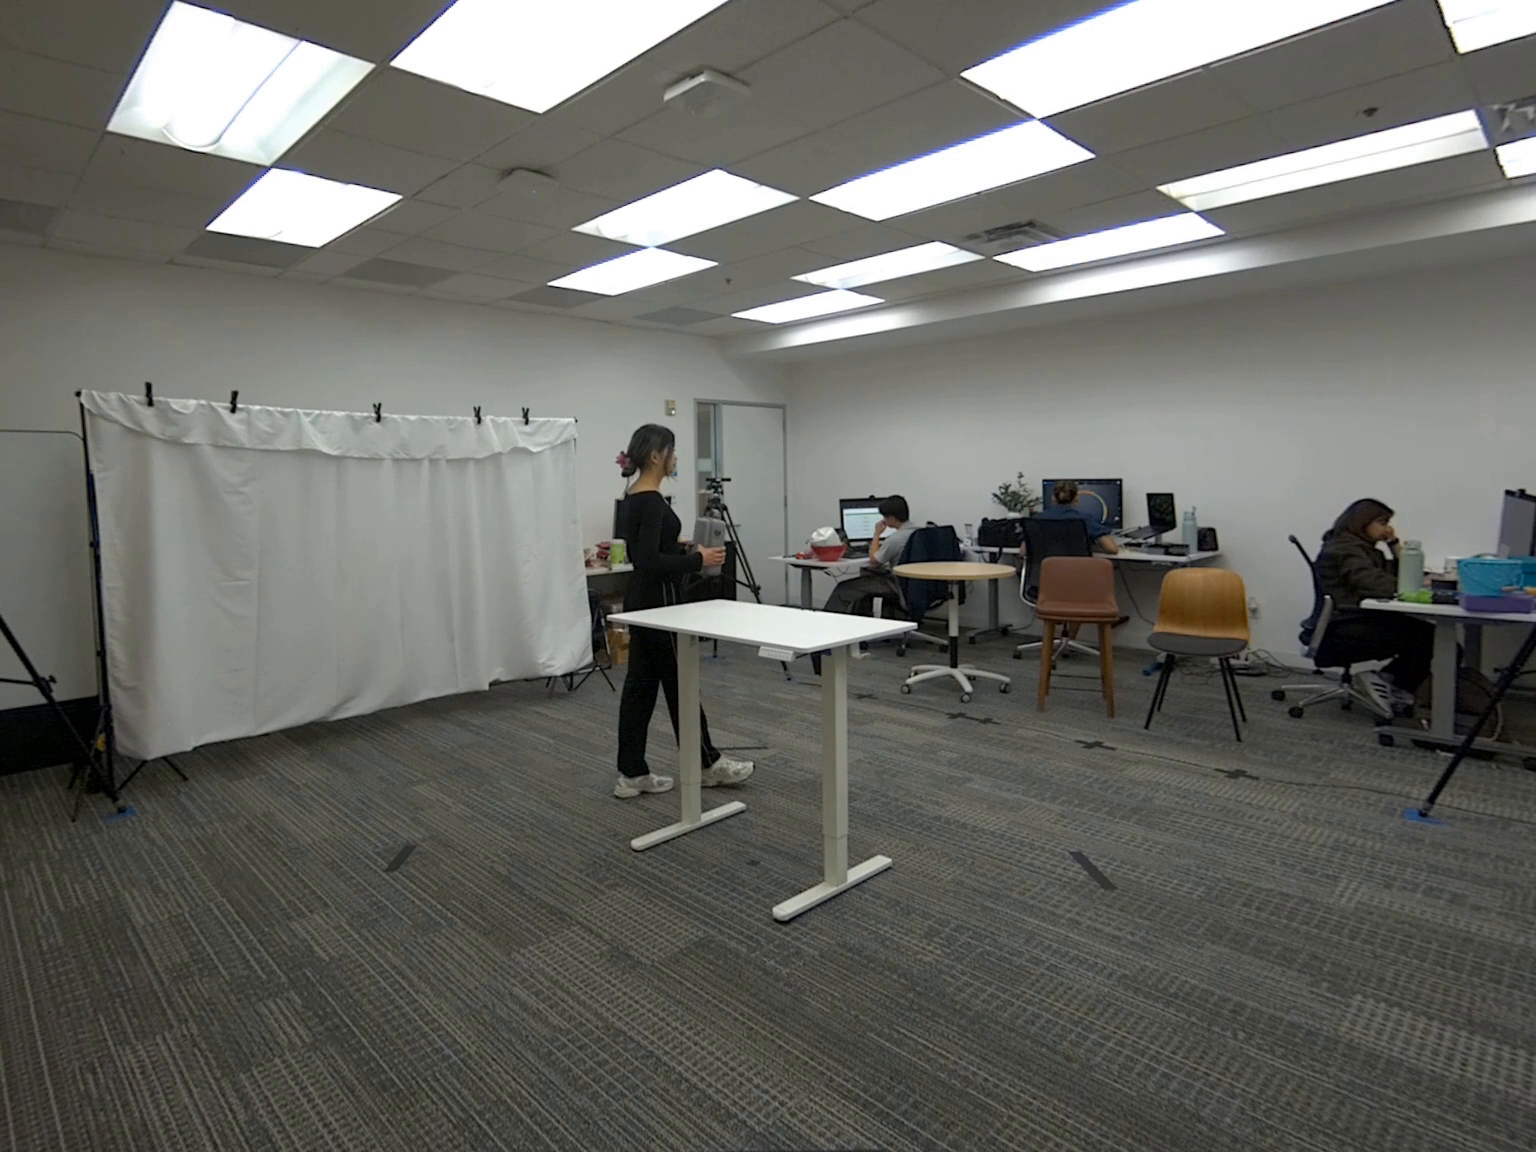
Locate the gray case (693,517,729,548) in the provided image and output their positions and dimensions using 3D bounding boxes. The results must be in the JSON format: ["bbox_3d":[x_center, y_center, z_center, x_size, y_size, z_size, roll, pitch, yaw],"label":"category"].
[{"bbox_3d":[-0.277,-0.140,3.876,0.103,0.260,0.261,7,3,-14],"label":"gray case"}]
